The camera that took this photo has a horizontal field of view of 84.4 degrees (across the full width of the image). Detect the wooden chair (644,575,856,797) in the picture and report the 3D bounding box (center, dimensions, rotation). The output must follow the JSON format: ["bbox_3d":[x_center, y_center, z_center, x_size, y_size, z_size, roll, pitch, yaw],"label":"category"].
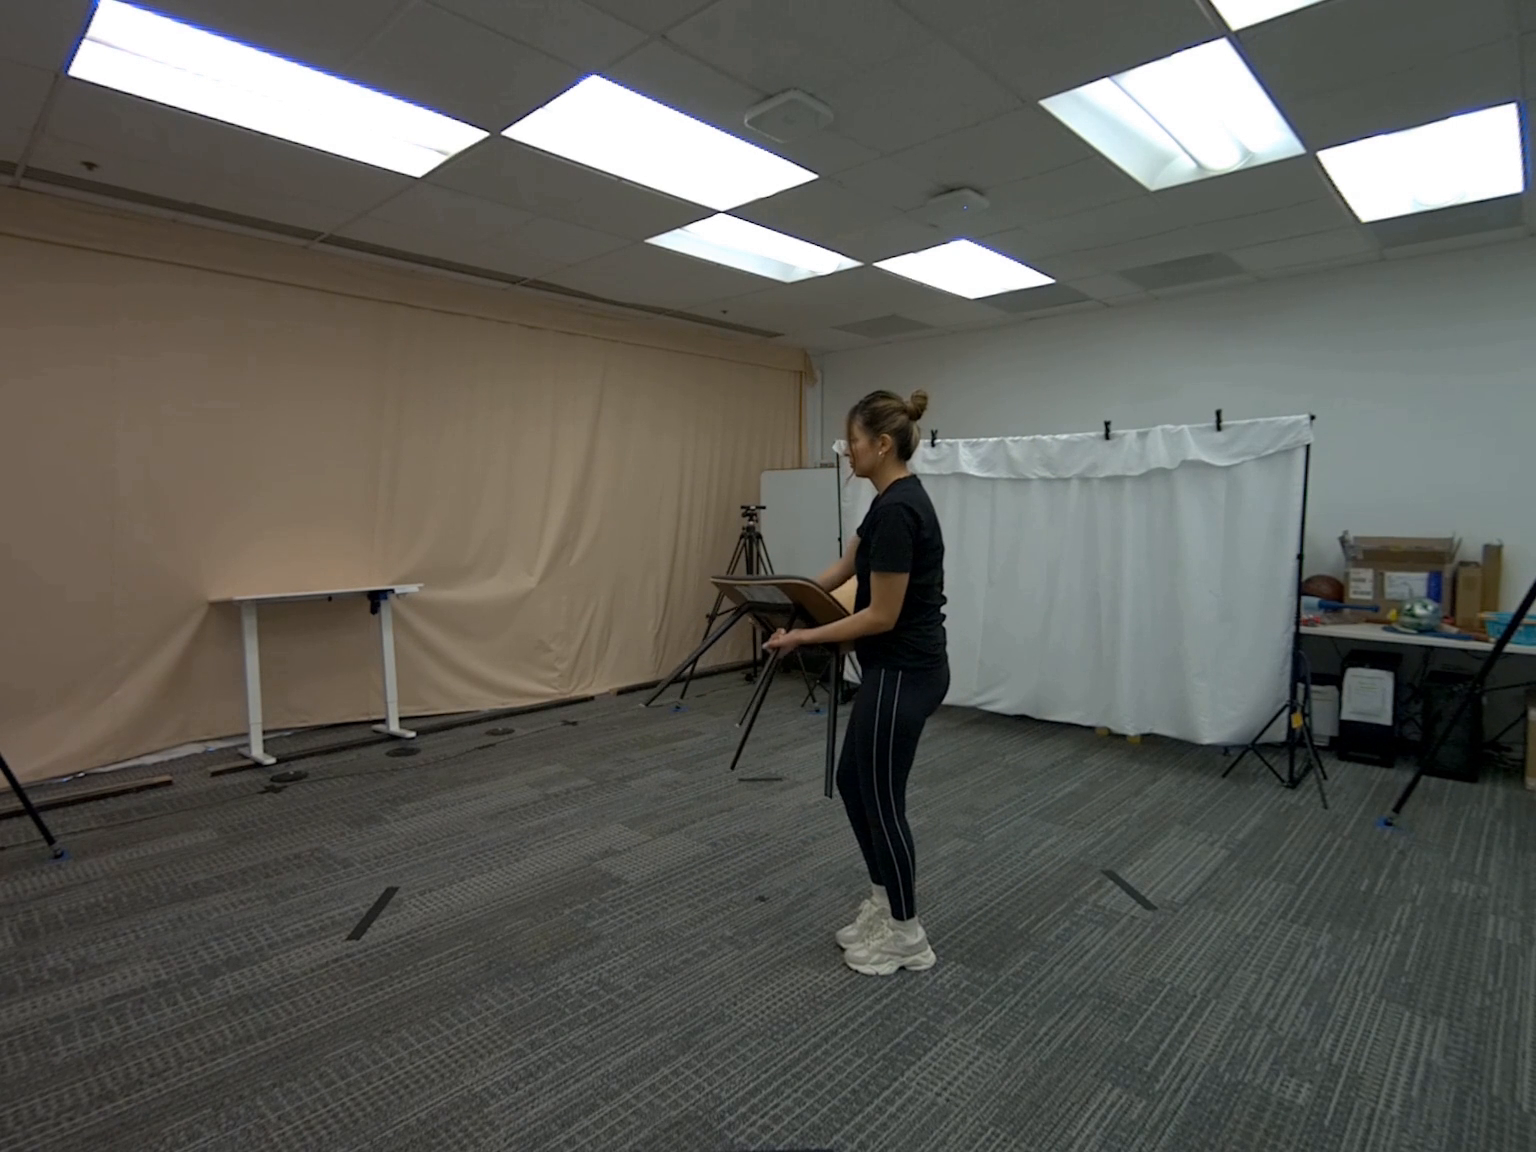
[{"bbox_3d":[0.065,0.172,2.676,0.493,0.876,0.507,-1,-40,48],"label":"wooden chair"}]
